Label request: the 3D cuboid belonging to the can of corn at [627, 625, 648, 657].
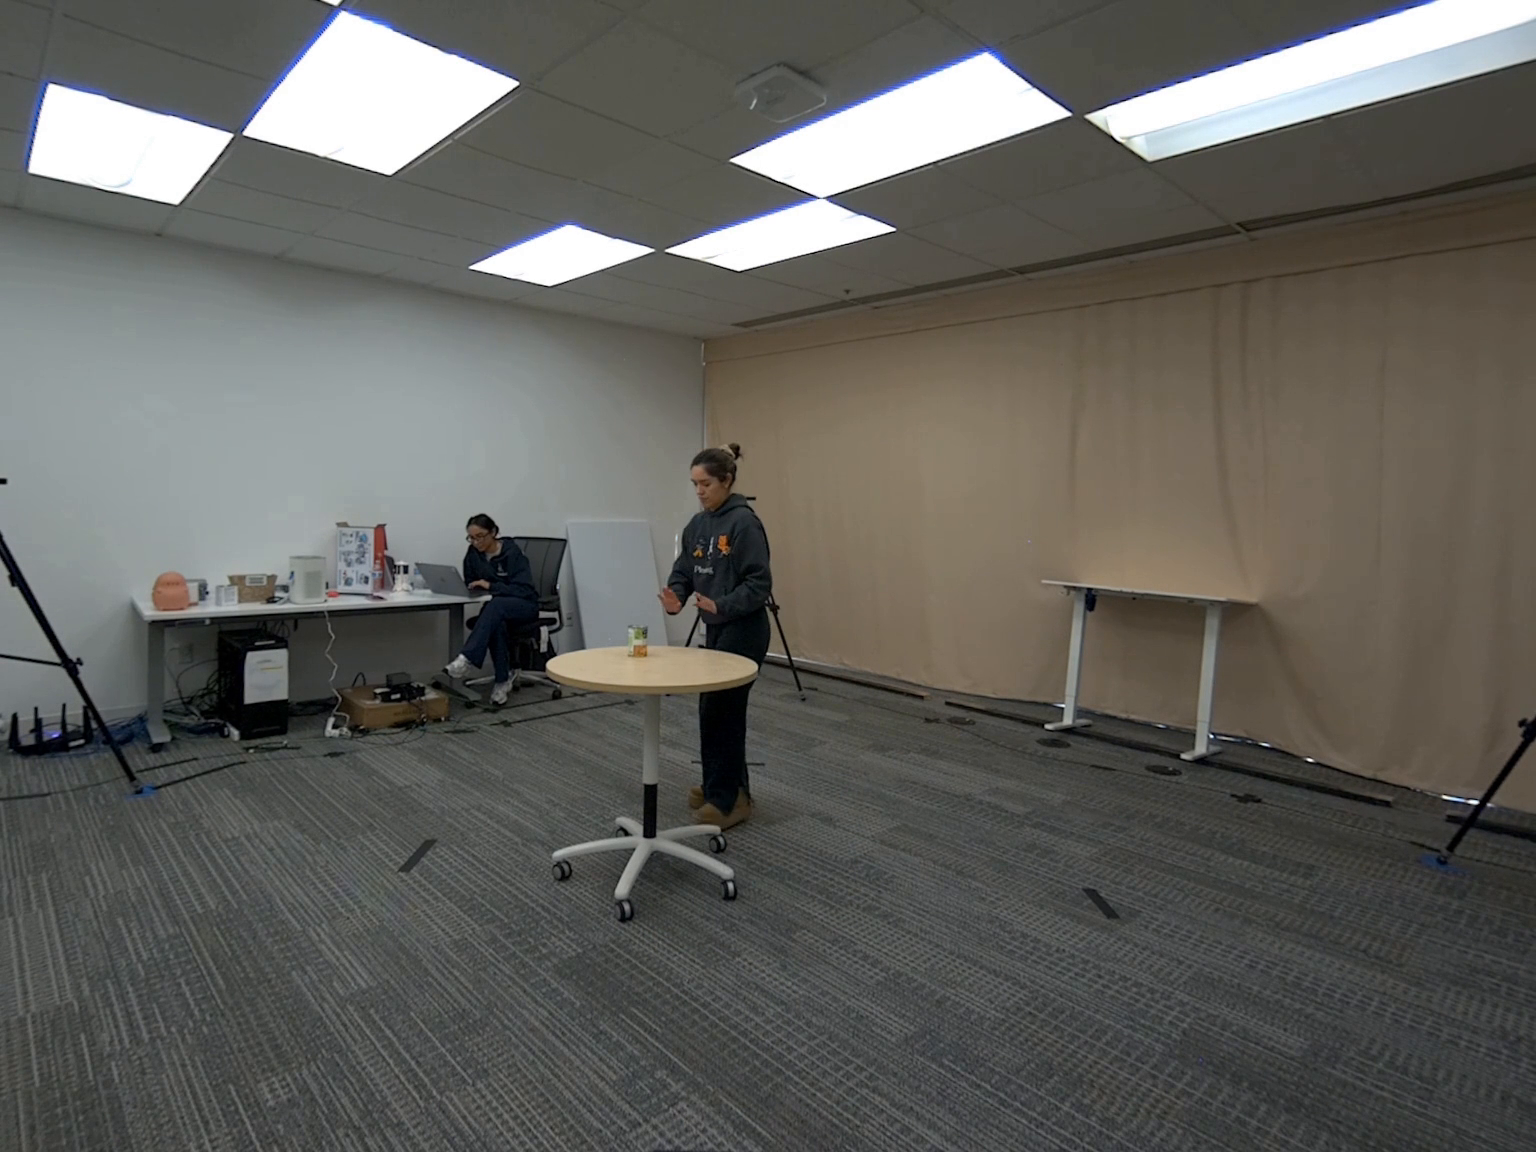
[{"bbox_3d":[-0.508,0.248,3.219,0.074,0.111,0.074,0,4,-1],"label":"can of corn"}]
